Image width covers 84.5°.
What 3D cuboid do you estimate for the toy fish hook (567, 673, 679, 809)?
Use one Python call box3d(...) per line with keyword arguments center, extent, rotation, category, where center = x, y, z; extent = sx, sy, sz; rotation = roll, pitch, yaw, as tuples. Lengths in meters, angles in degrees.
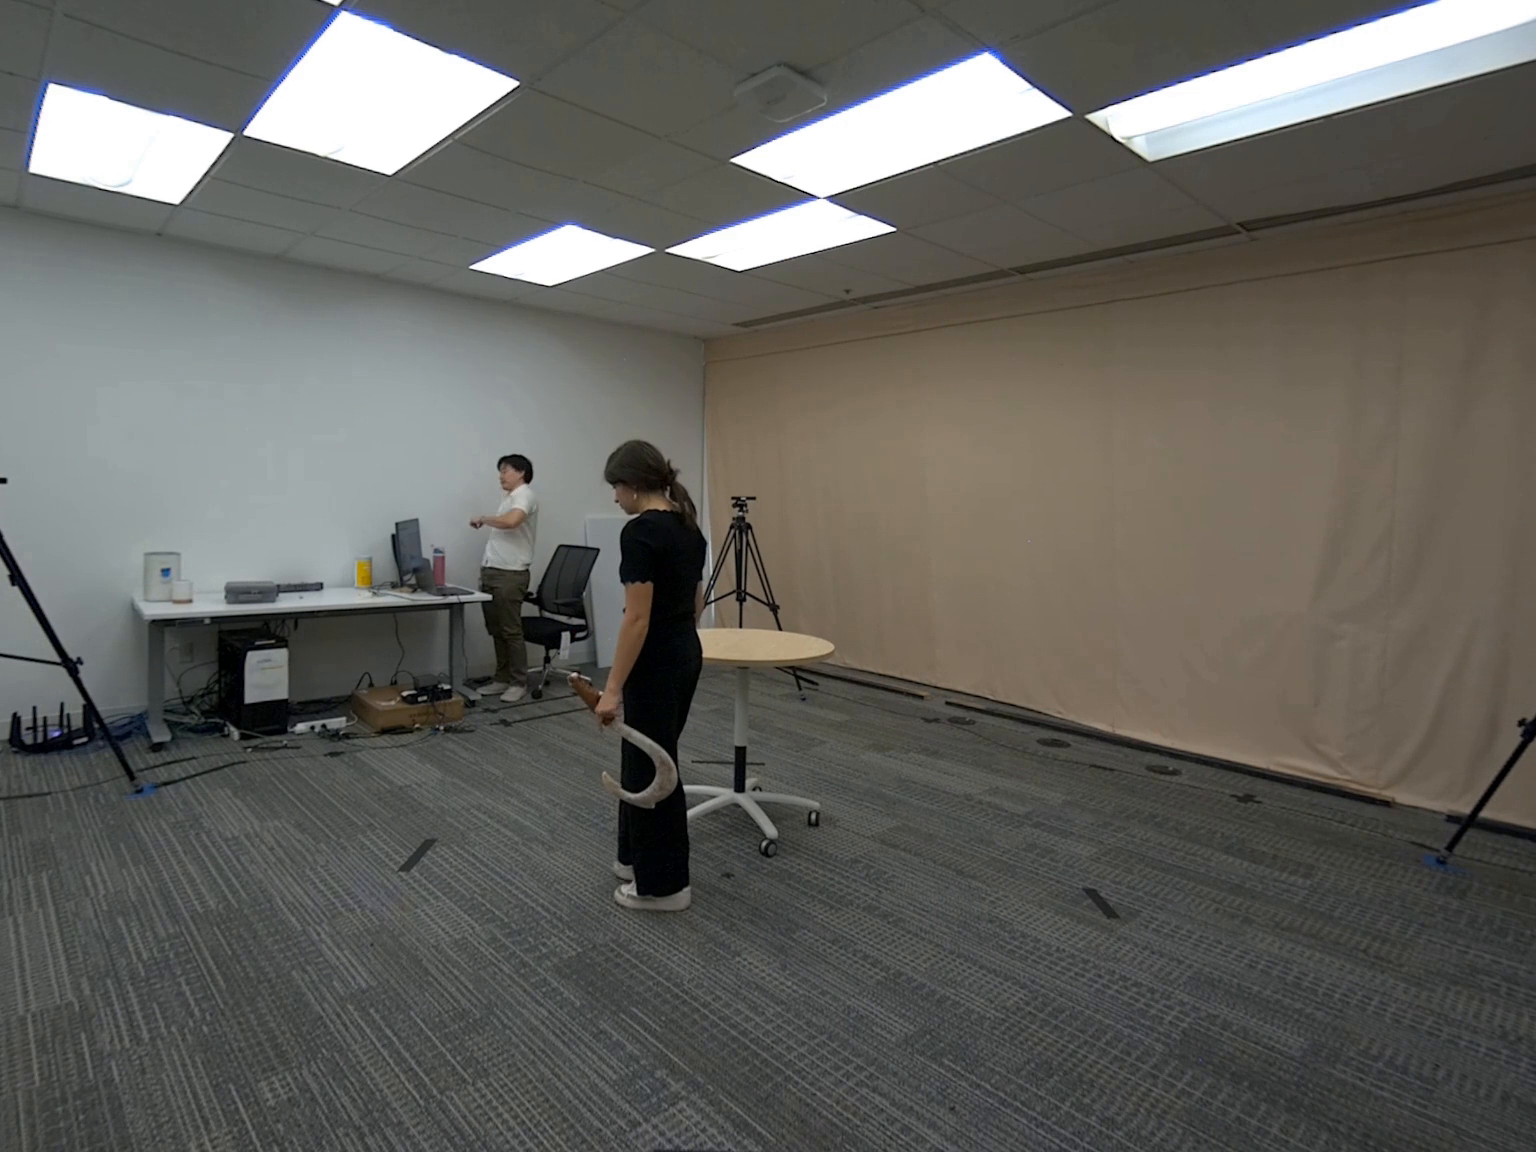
box3d(center=(-0.515, 0.536, 2.687), extent=(0.224, 0.504, 0.048), rotation=(-40, 4, -2), category="toy fish hook")
